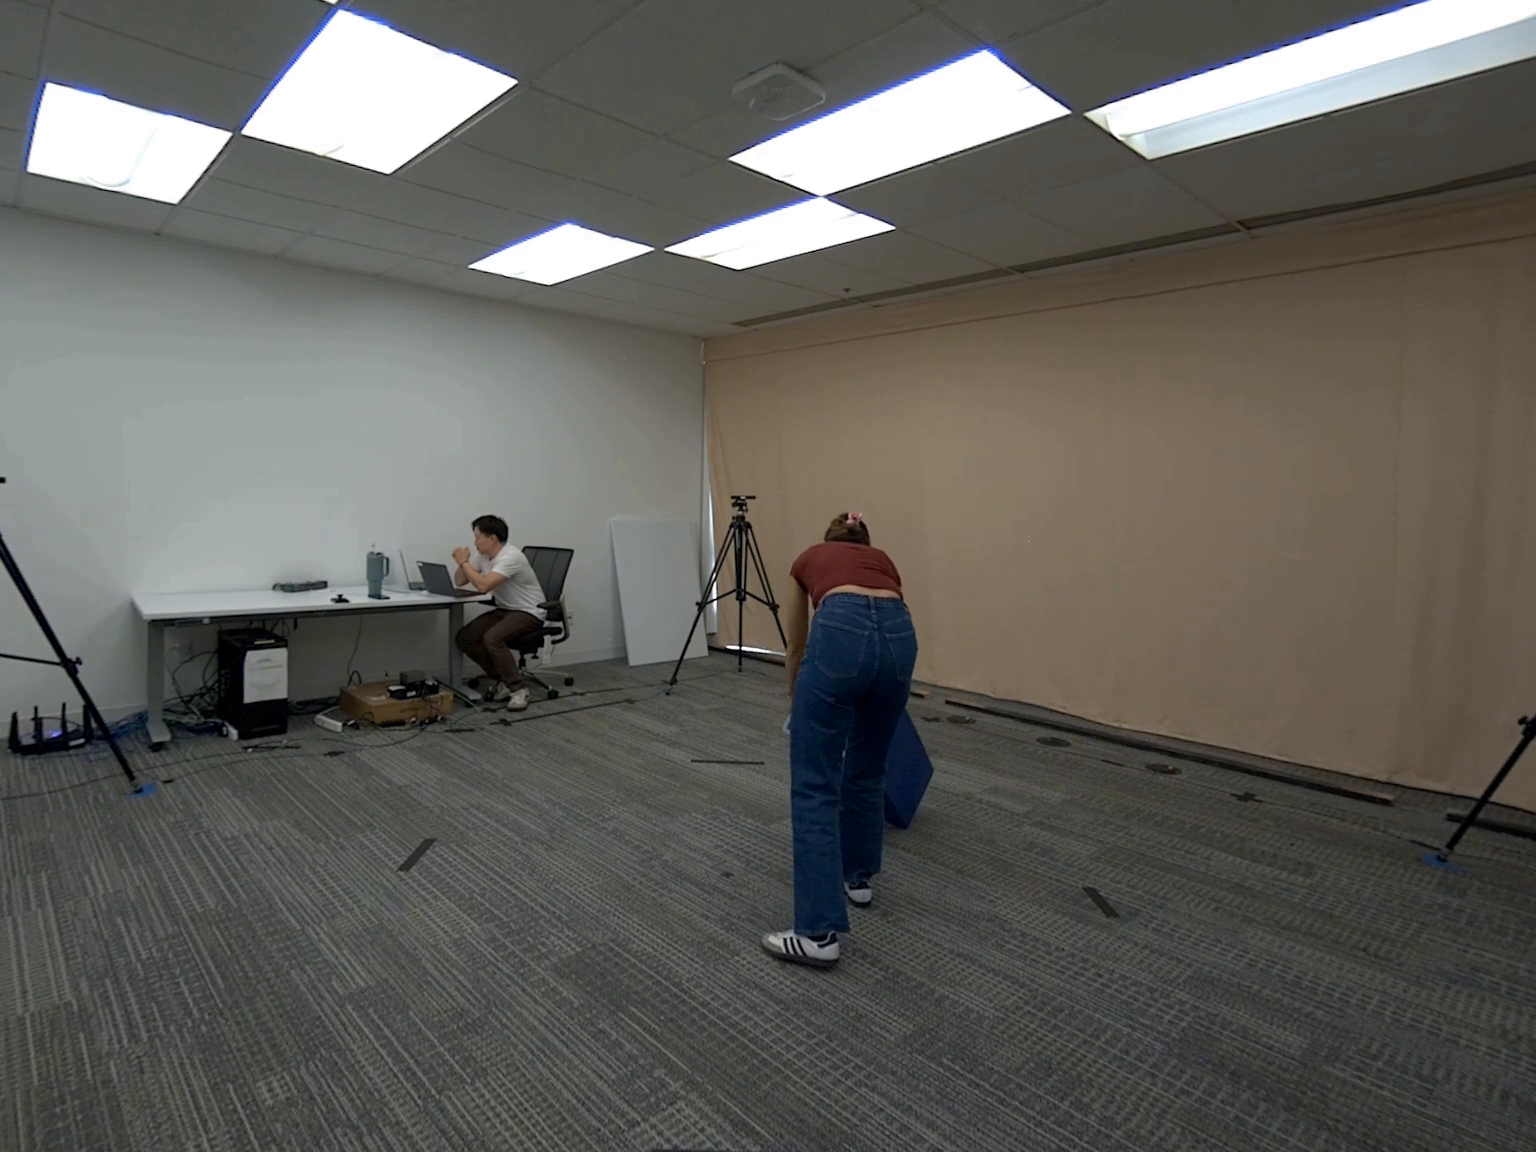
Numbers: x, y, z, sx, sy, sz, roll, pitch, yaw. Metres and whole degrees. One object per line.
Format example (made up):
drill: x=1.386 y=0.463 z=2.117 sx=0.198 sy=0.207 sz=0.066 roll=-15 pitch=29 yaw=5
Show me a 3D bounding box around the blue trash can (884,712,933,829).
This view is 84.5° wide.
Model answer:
blue trash can: x=0.400 y=0.730 z=3.501 sx=0.388 sy=0.375 sz=0.692 roll=11 pitch=-33 yaw=37
